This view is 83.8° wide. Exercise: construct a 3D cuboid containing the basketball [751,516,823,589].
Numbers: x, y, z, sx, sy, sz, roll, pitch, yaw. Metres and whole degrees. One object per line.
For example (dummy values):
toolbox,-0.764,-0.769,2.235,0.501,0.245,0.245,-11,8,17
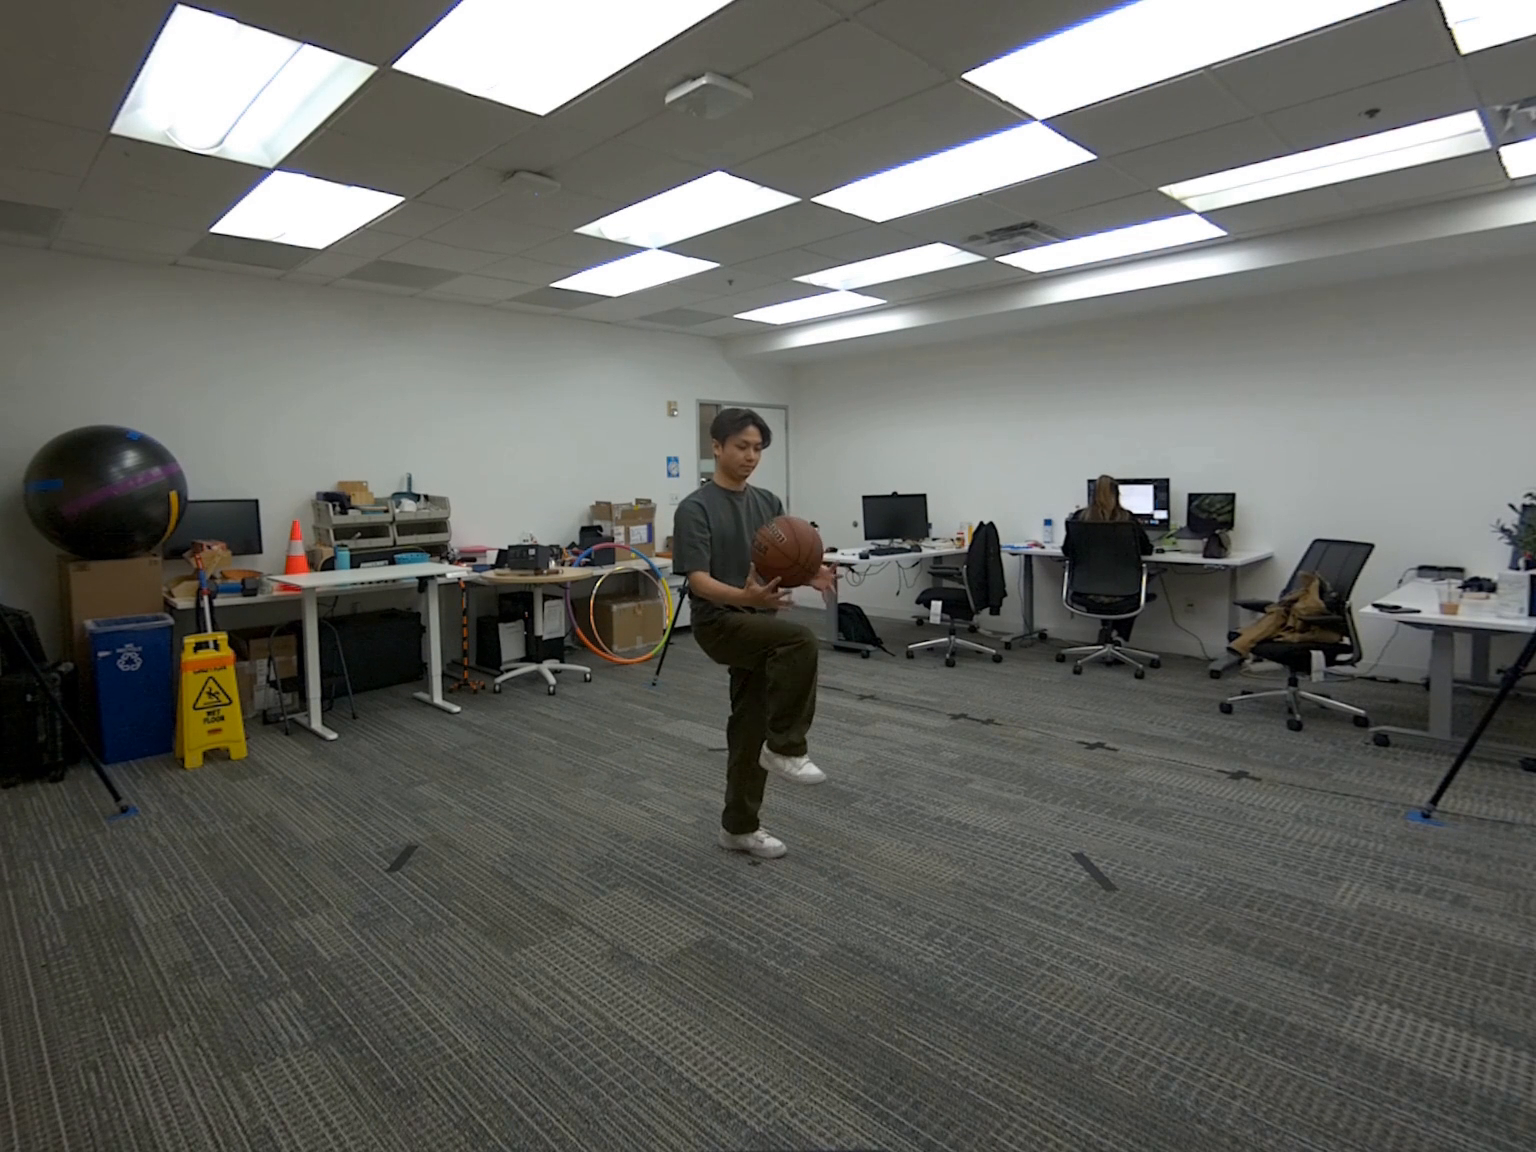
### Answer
basketball,0.066,-0.061,2.797,0.236,0.235,0.237,-1,5,-2
